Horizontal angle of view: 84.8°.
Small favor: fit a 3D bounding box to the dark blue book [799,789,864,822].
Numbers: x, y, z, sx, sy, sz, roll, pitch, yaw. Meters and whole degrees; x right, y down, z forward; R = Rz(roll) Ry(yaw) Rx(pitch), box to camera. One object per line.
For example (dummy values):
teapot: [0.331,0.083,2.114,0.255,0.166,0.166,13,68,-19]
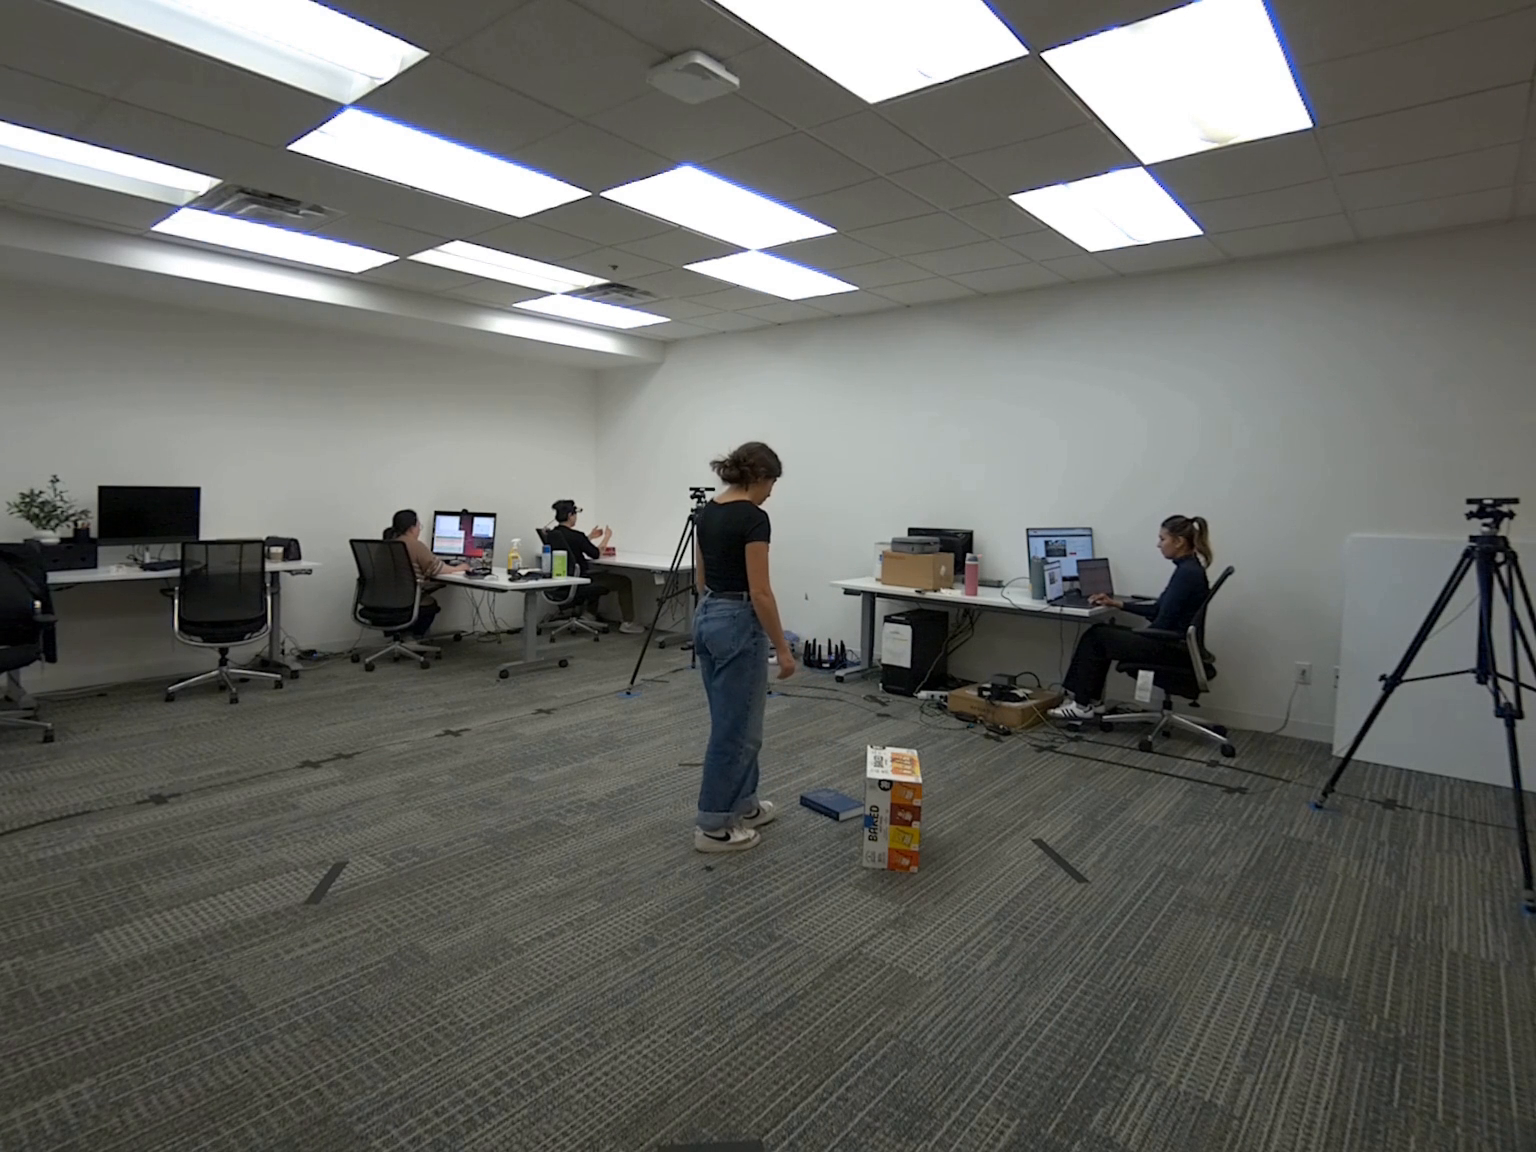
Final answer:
dark blue book: [0.275,0.996,3.723,0.158,0.045,0.253,-3,8,-39]
